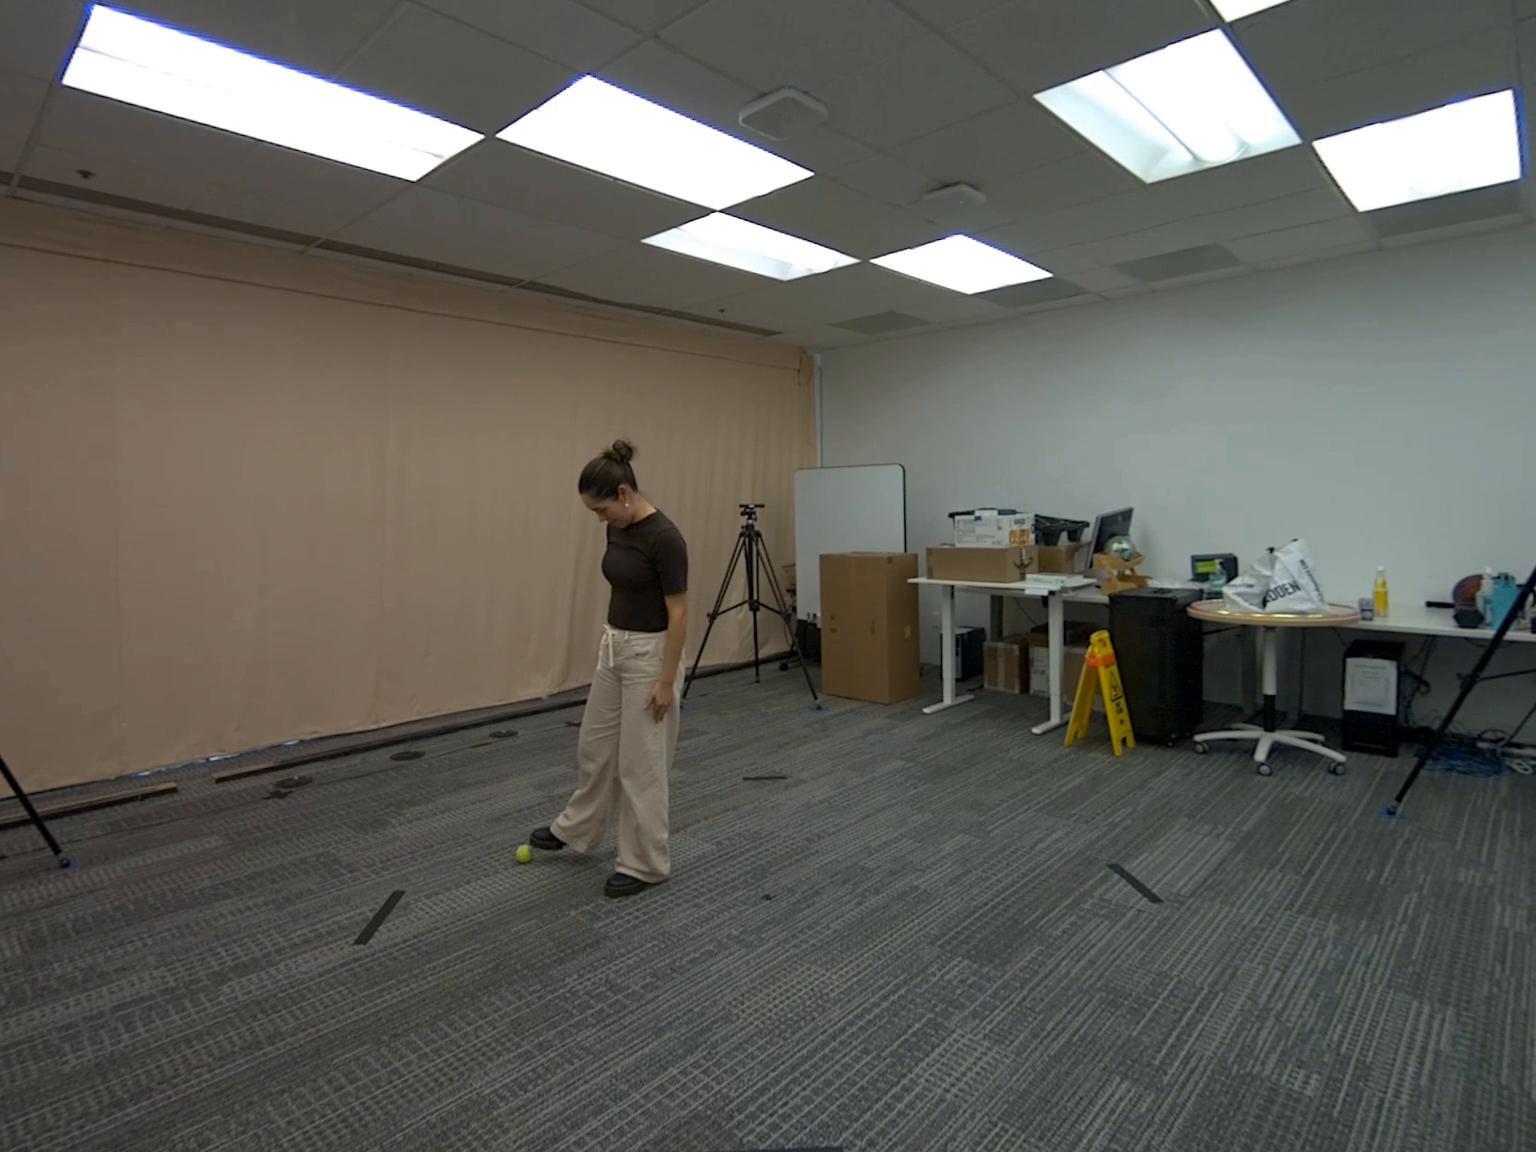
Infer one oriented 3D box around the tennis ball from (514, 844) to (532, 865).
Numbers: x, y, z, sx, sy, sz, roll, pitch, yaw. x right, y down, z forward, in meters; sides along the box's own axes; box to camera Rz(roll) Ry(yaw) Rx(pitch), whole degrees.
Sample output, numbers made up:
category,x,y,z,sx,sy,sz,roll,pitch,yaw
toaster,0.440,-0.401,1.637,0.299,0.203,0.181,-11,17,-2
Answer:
category,x,y,z,sx,sy,sz,roll,pitch,yaw
tennis ball,-0.967,1.094,3.337,0.066,0.066,0.067,-1,4,-2
